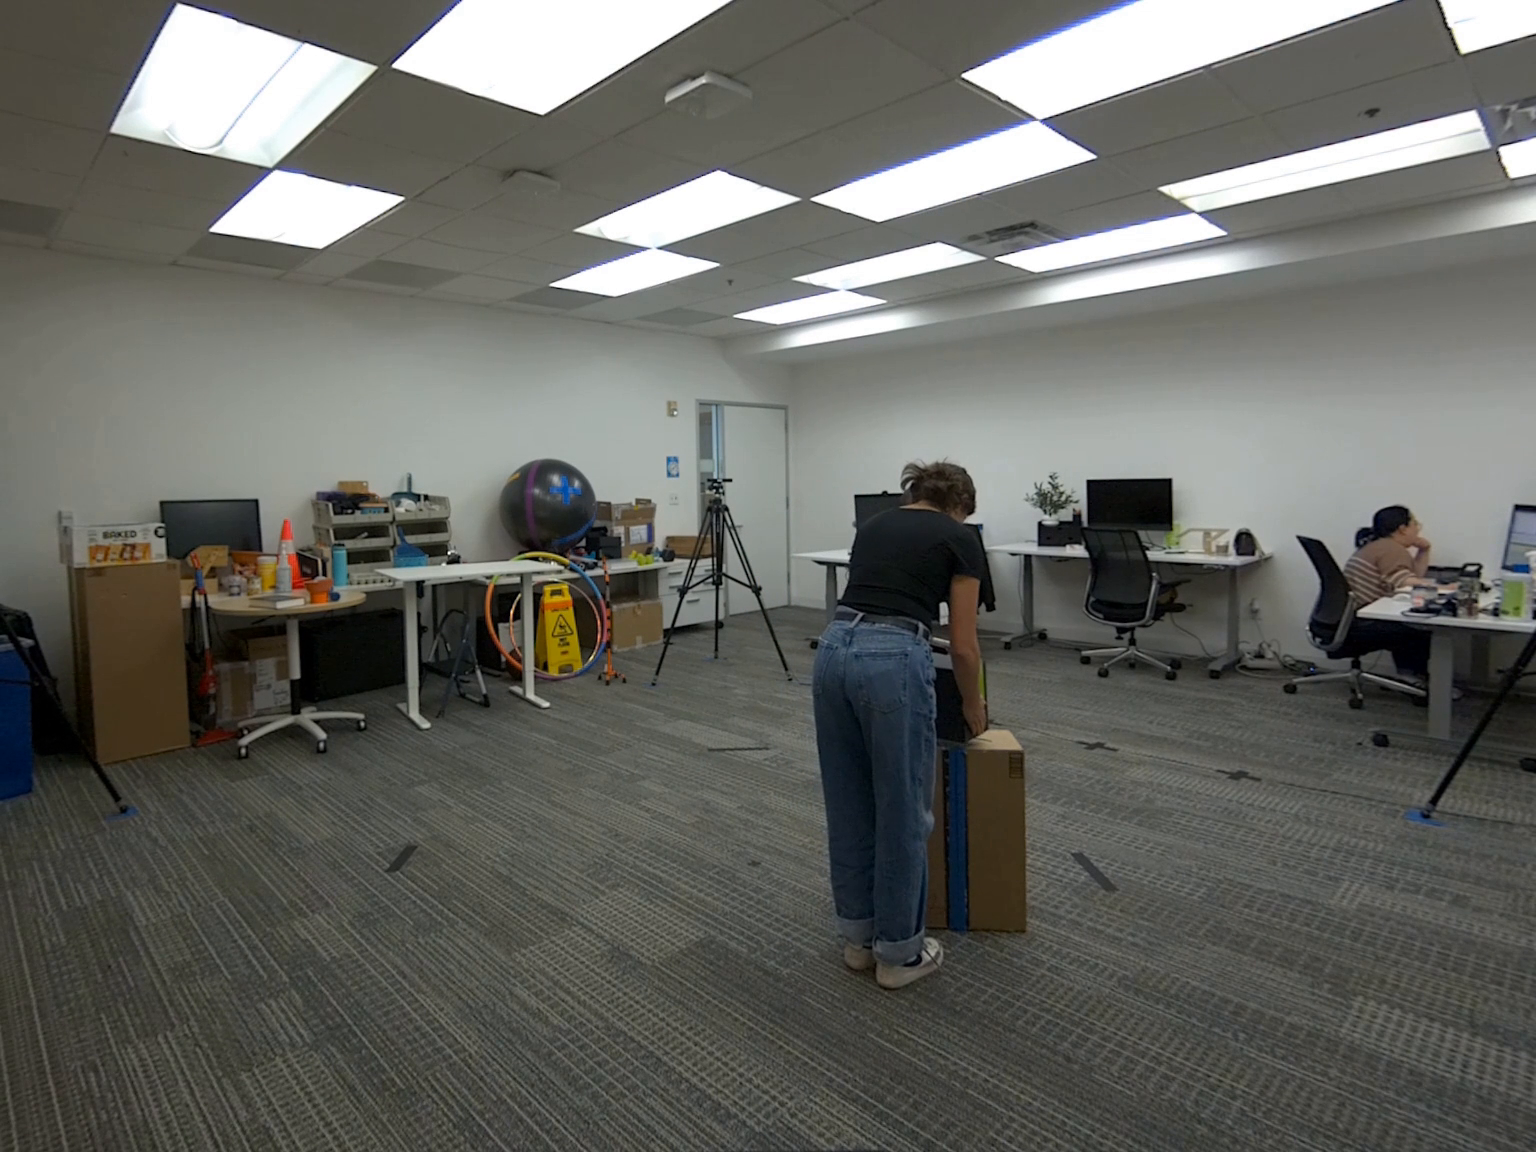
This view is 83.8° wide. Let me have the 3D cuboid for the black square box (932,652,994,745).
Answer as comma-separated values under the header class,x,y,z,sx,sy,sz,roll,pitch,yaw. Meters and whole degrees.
class,x,y,z,sx,sy,sz,roll,pitch,yaw
black square box,0.556,0.372,2.664,0.223,0.227,0.152,2,7,44
